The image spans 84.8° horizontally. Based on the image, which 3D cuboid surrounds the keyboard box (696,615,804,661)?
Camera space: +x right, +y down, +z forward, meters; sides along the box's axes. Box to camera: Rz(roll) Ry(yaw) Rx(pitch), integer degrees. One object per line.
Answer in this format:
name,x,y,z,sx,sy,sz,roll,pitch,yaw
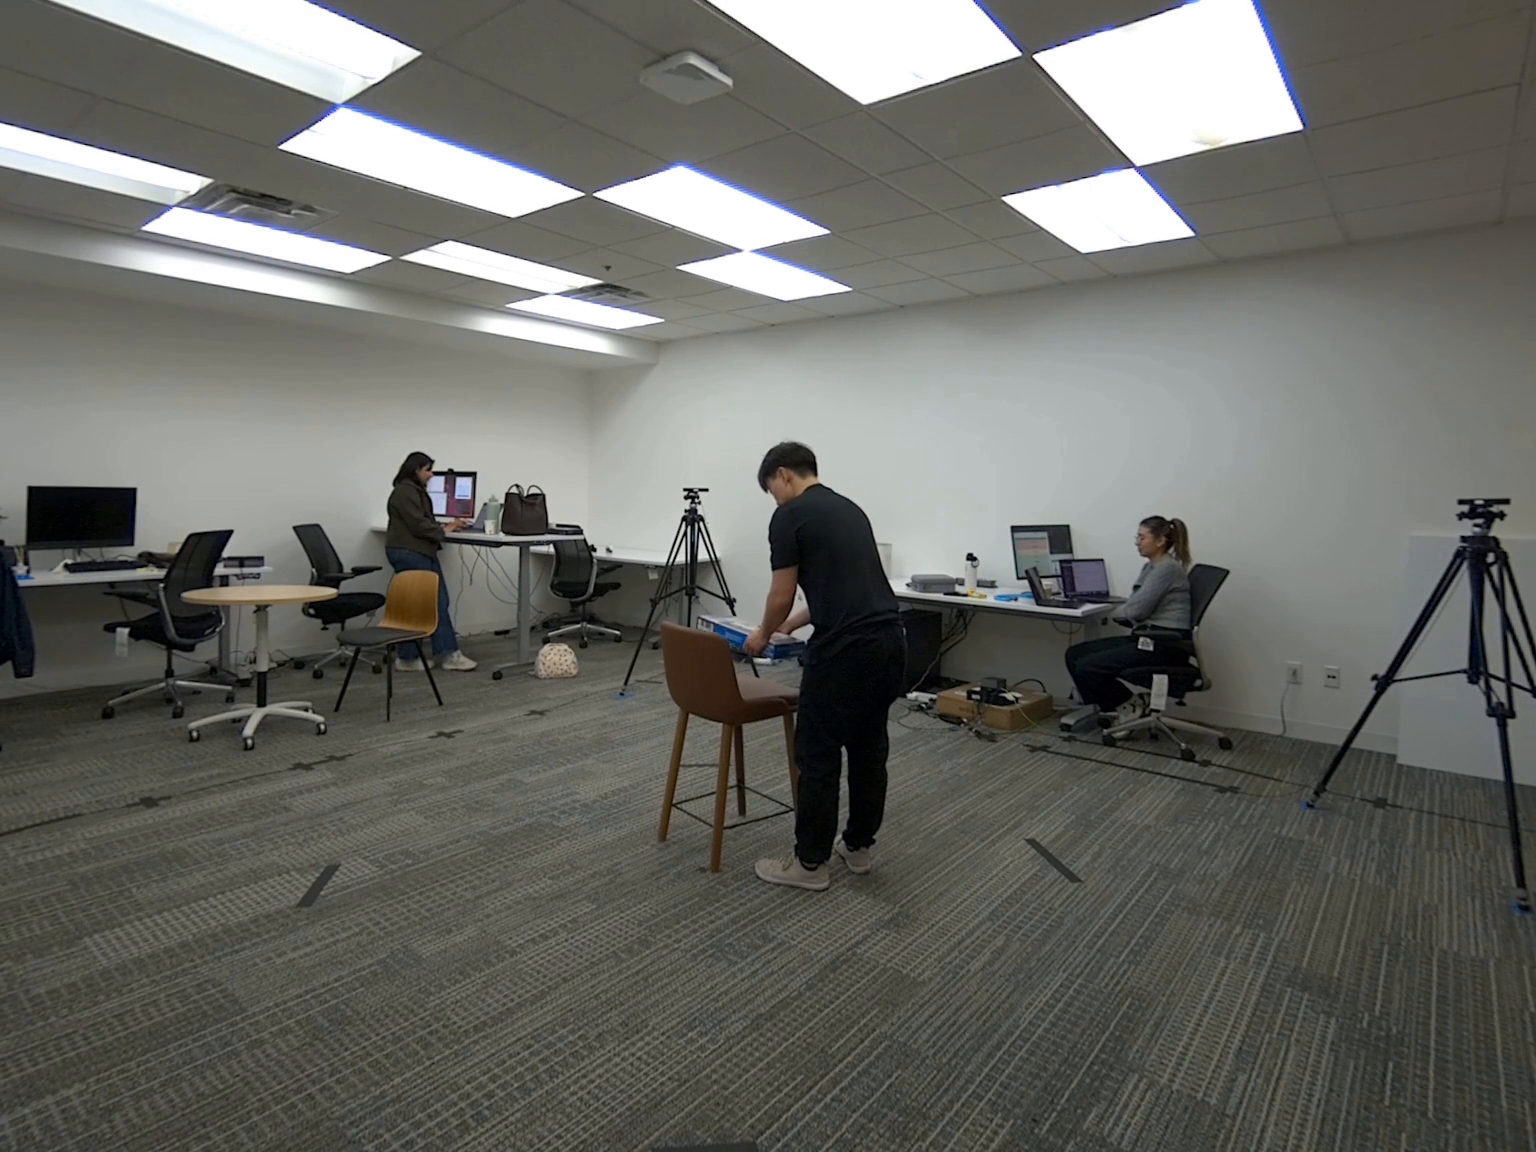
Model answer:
keyboard box,-0.081,0.232,3.347,0.170,0.059,0.454,-1,12,-45
